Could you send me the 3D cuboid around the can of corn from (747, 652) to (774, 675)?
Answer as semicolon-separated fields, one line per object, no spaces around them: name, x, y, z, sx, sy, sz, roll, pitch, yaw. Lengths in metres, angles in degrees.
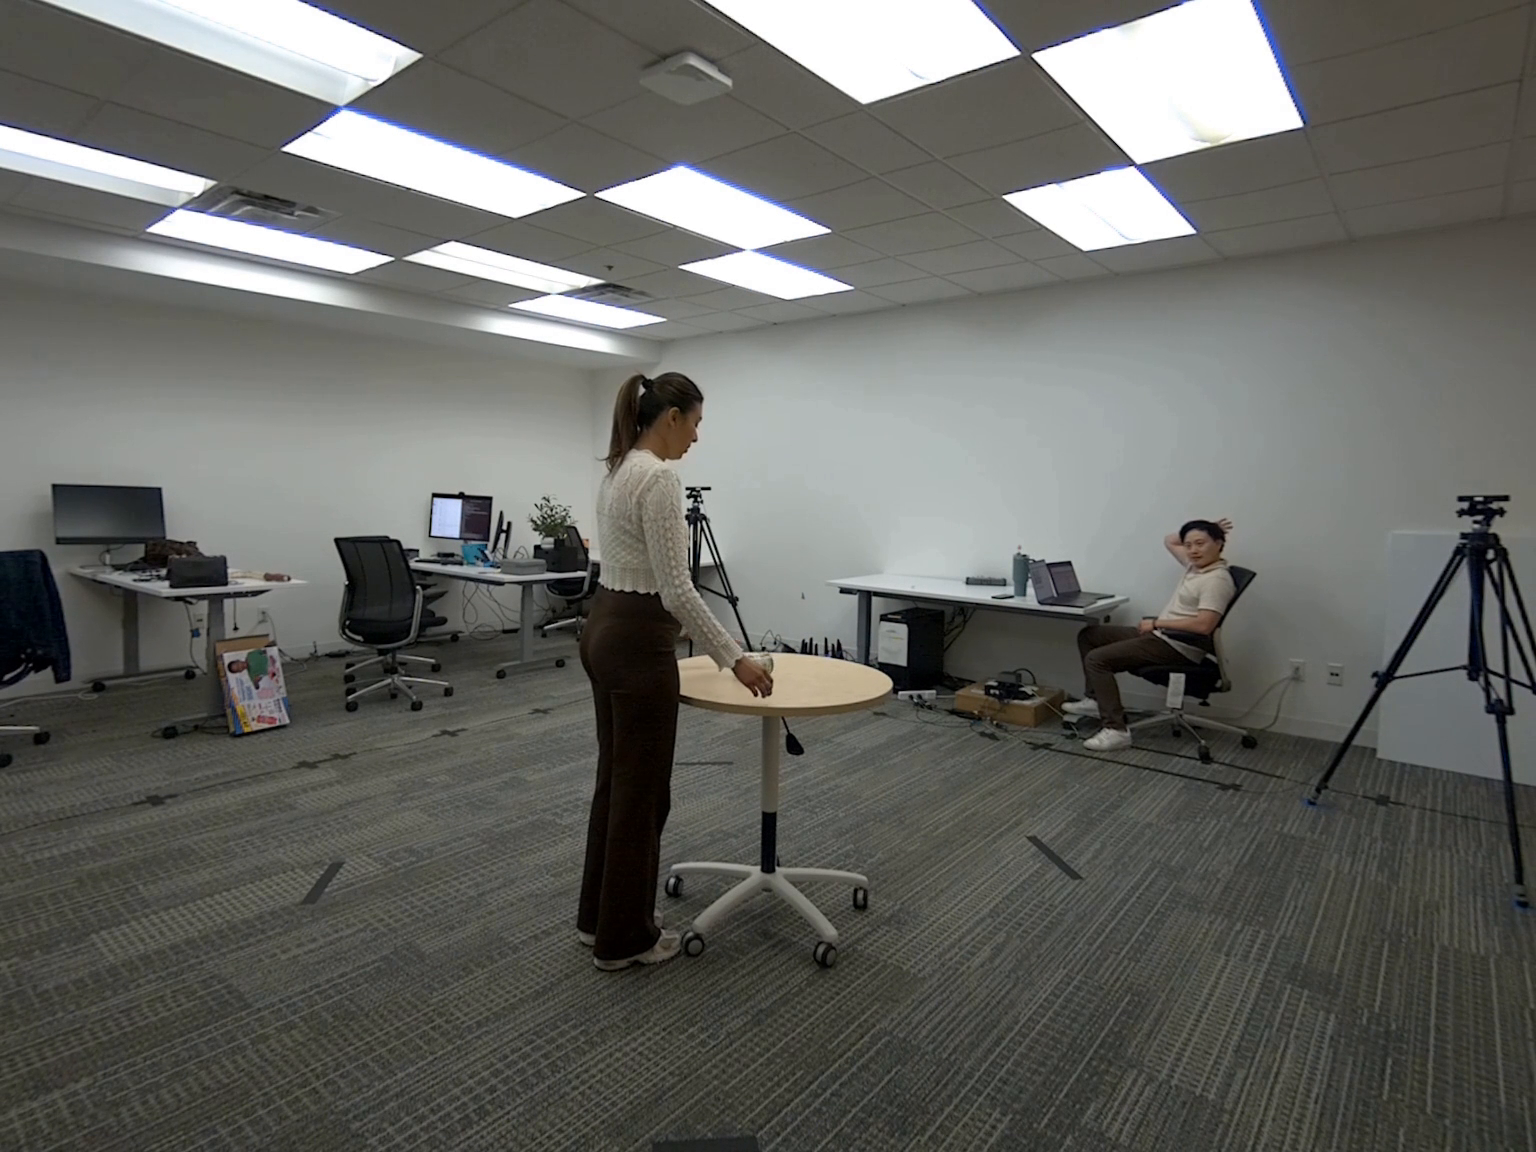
can of corn;-0.048;0.287;2.748;0.110;0.074;0.075;-6;5;-7
